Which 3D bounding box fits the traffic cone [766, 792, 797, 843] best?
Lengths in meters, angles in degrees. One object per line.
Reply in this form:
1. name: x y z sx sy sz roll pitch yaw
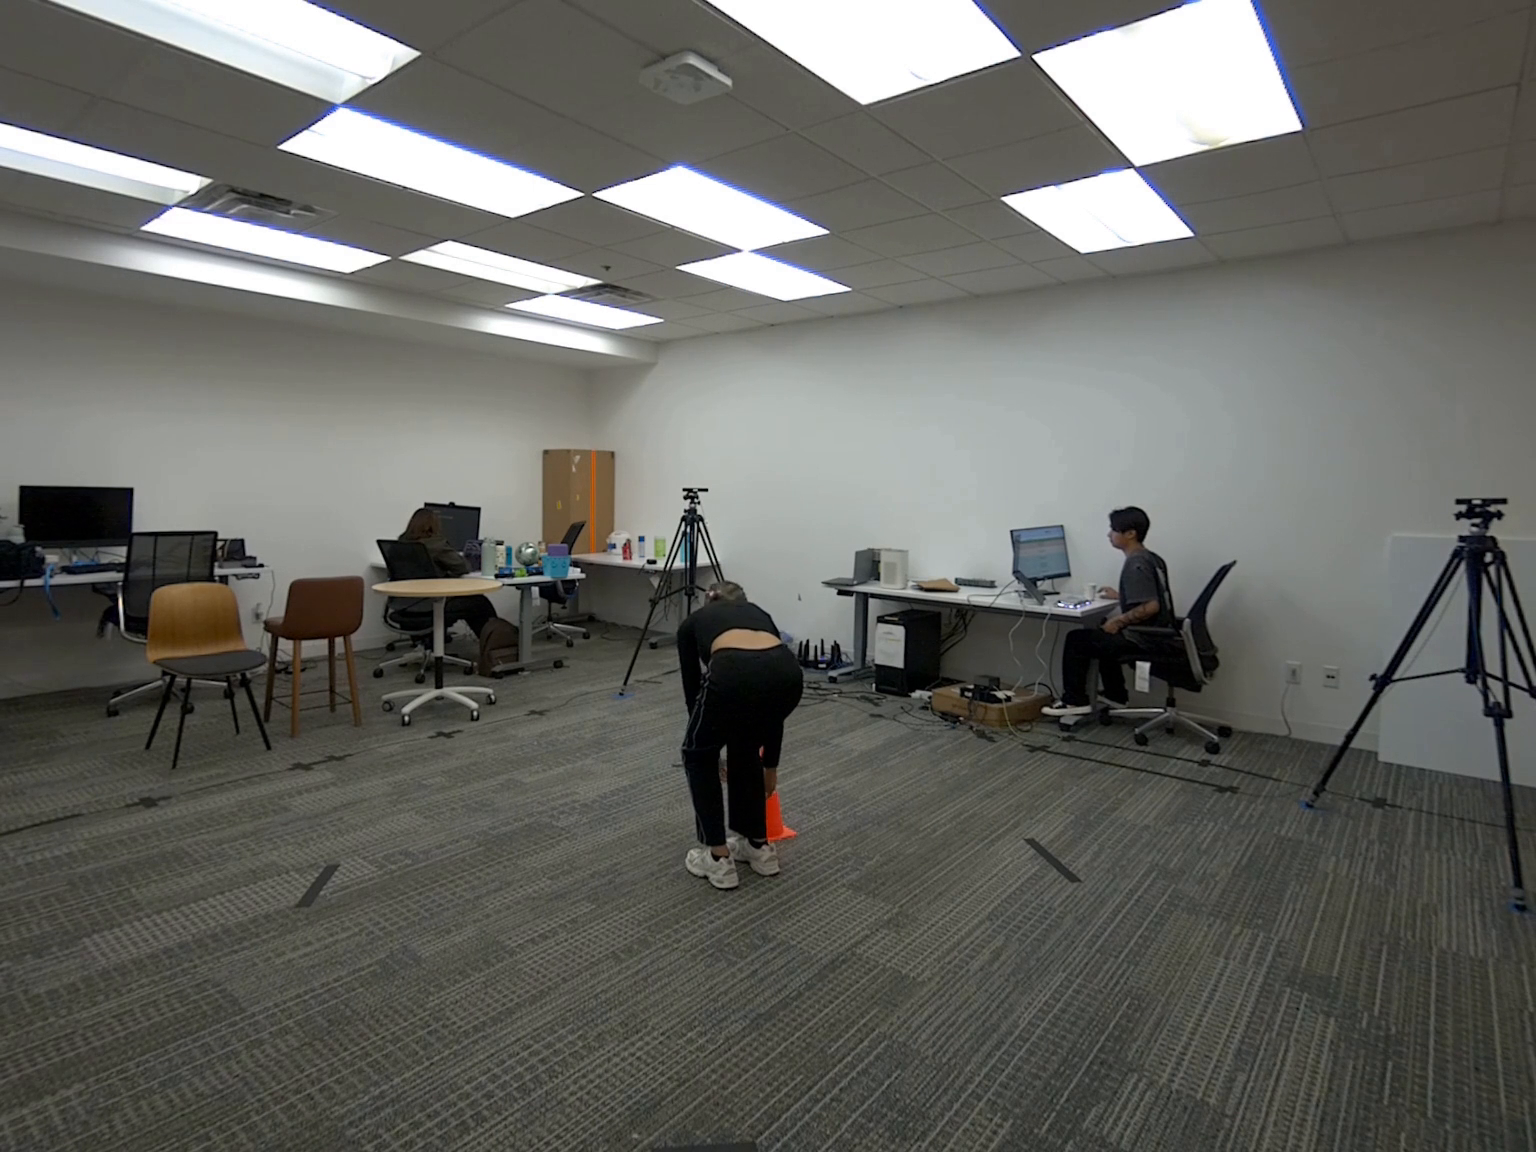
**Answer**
1. traffic cone: -0.021 0.851 3.463 0.198 0.382 0.211 -3 5 -30
